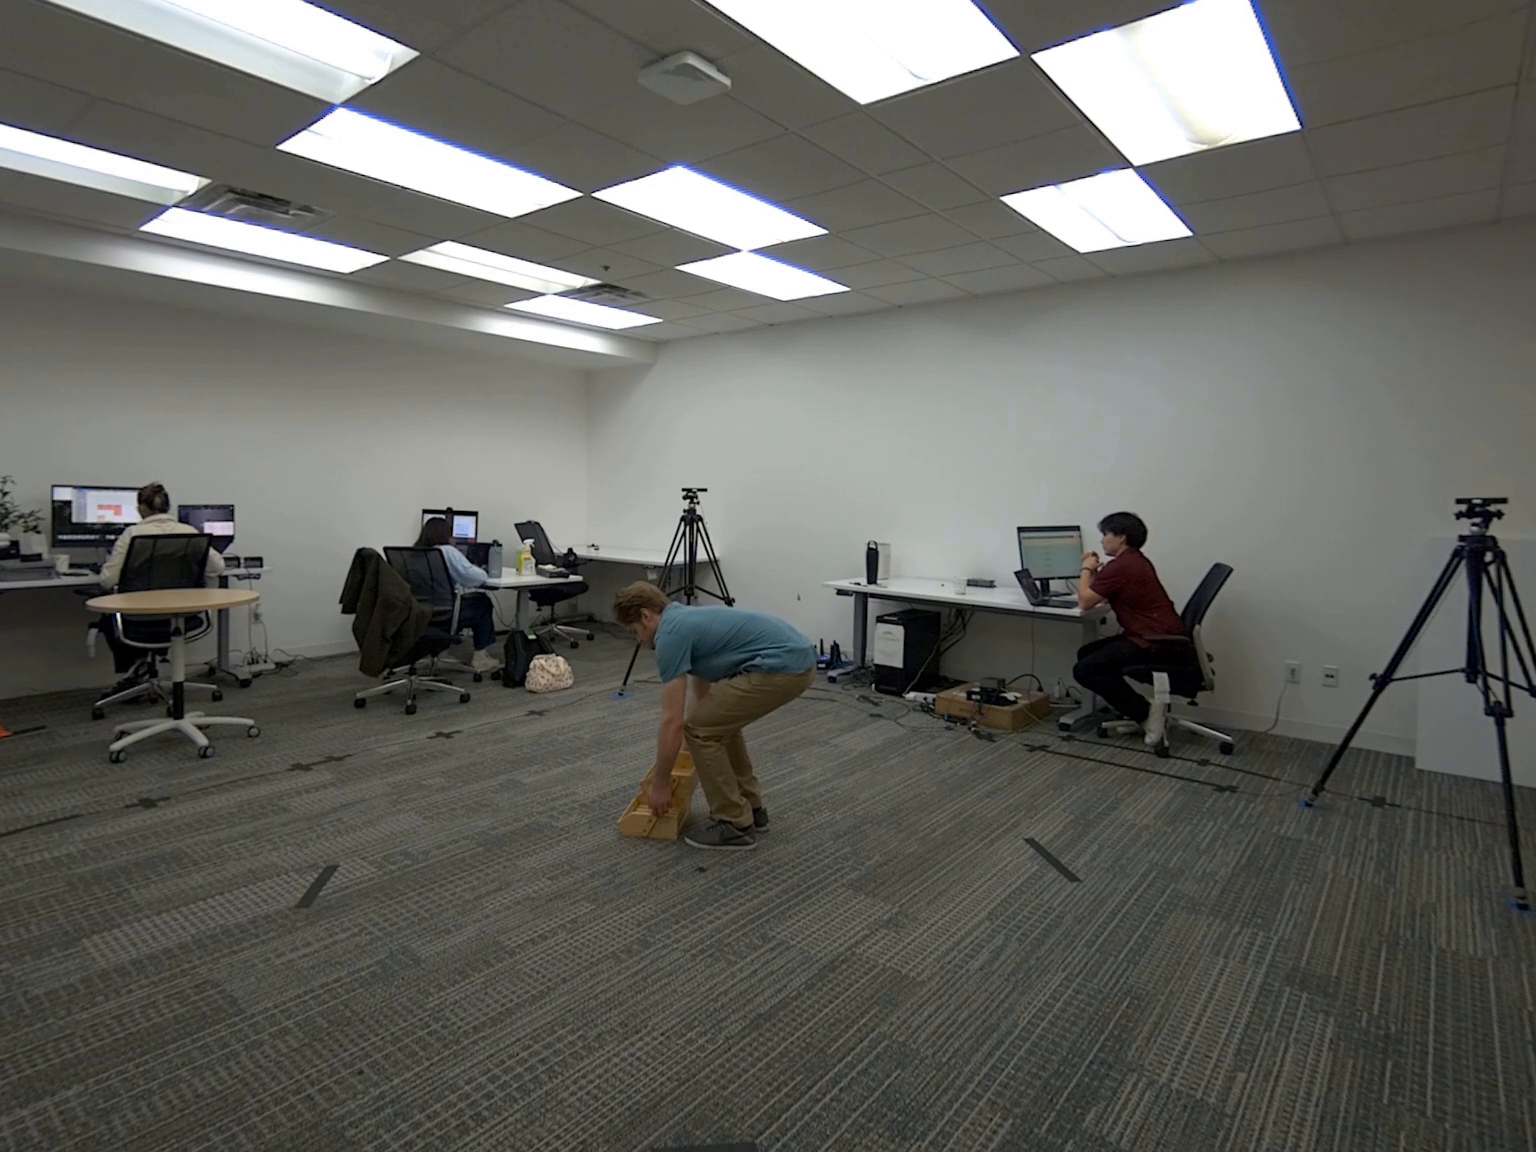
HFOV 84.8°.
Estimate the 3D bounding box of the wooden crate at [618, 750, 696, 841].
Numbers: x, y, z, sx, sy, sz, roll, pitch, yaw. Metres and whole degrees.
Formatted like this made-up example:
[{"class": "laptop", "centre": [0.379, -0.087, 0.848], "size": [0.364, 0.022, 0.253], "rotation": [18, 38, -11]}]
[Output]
[{"class": "wooden crate", "centre": [-0.455, 0.897, 3.530], "size": [0.304, 0.272, 0.323], "rotation": [2, 4, 6]}]
